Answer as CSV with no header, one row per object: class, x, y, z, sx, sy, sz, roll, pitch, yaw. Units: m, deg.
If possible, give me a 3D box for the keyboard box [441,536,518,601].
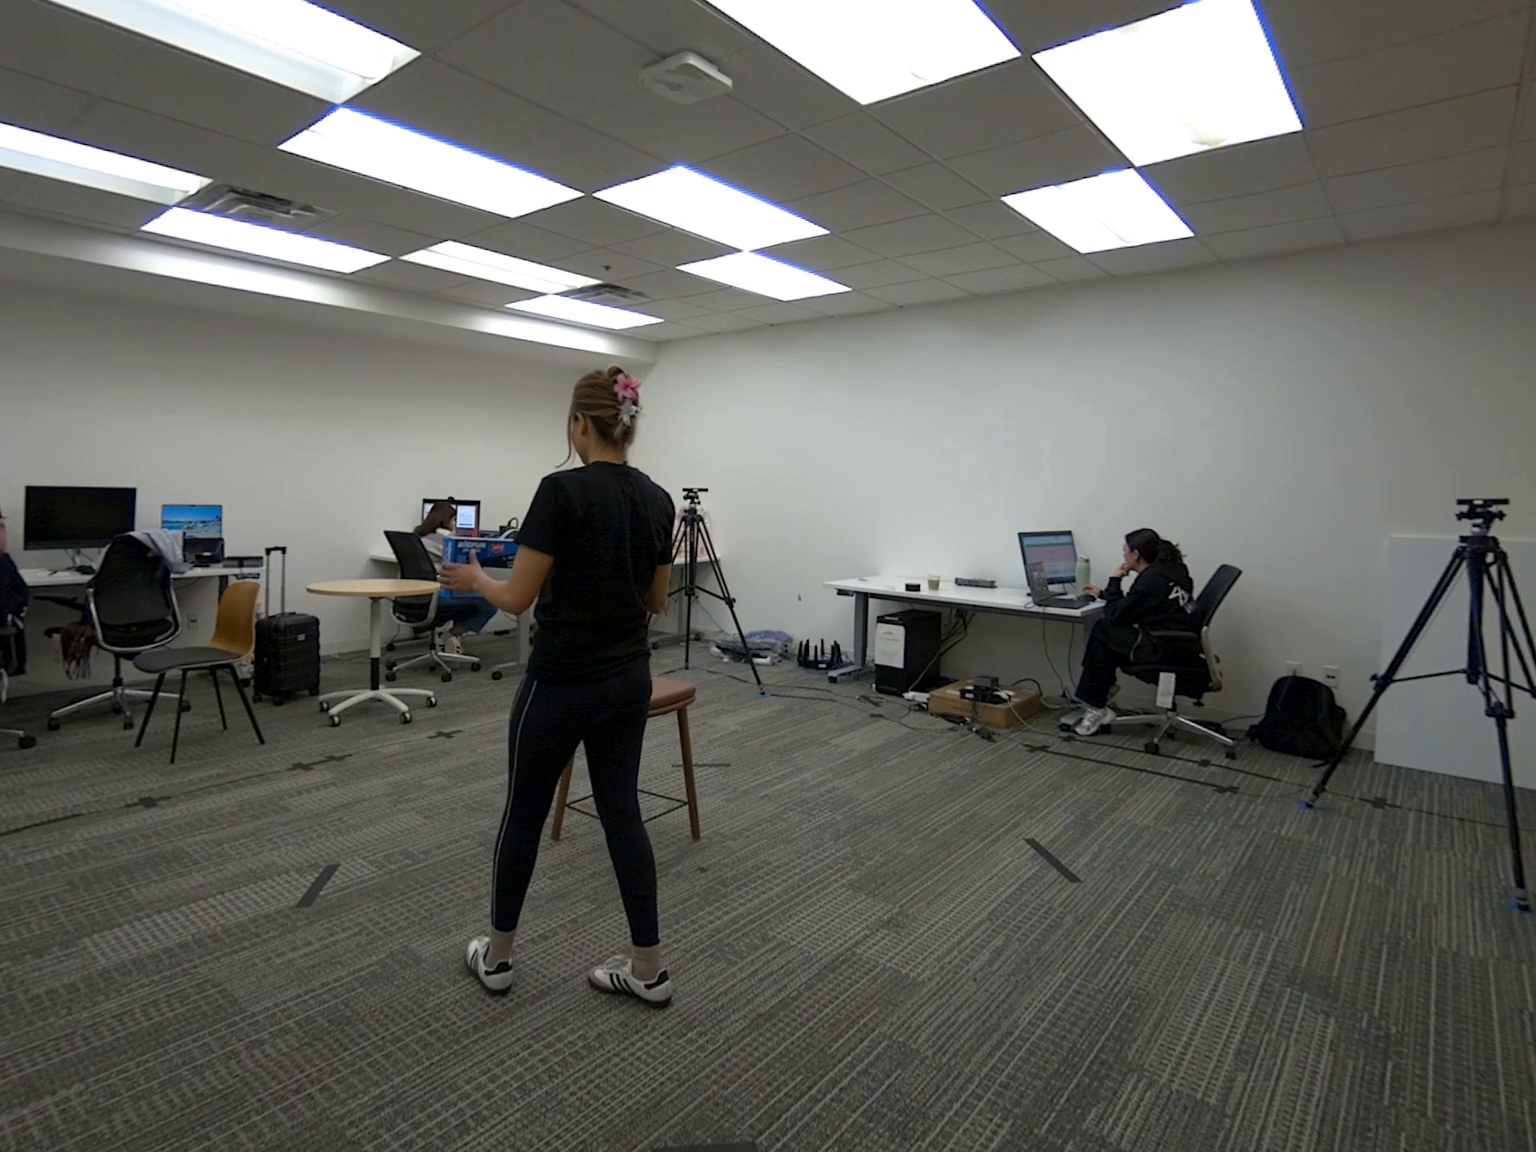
keyboard box,-0.775,-0.020,2.544,0.061,0.176,0.423,5,3,40
